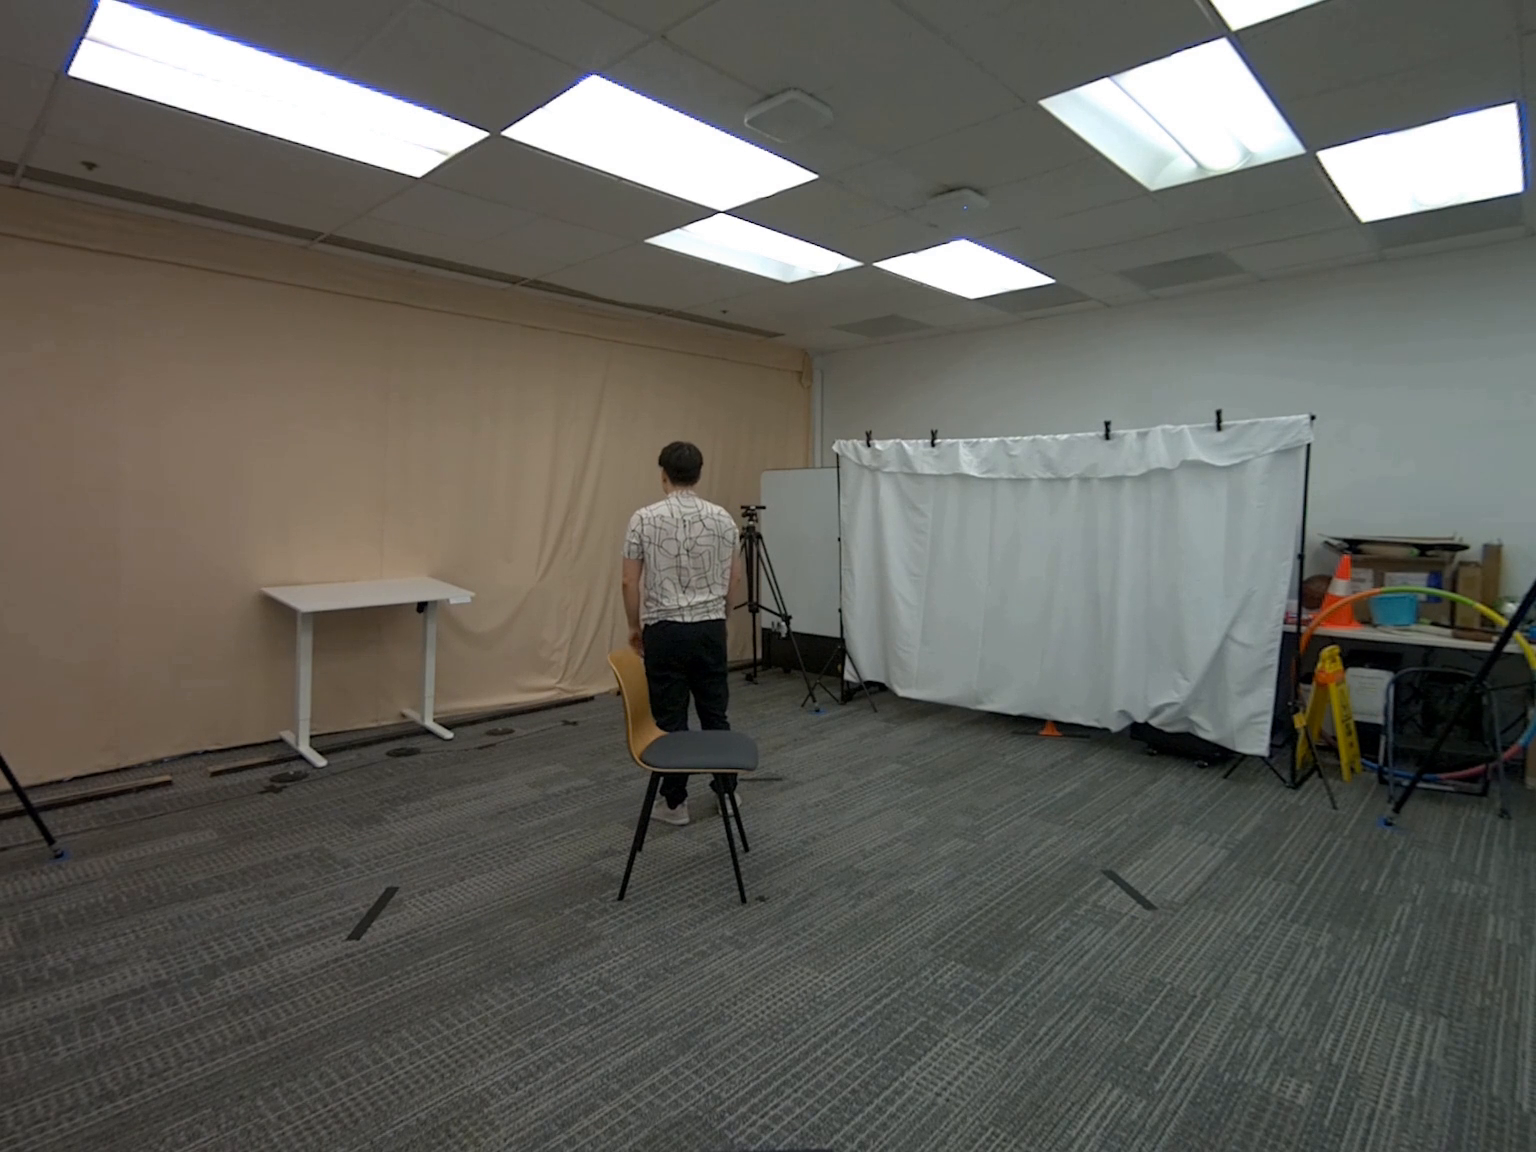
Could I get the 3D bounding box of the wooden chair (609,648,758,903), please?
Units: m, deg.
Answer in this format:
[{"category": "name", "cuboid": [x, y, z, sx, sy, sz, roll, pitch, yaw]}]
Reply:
[{"category": "wooden chair", "cuboid": [-0.294, 0.703, 3.155, 0.525, 0.876, 0.477, -5, 2, 2]}]
